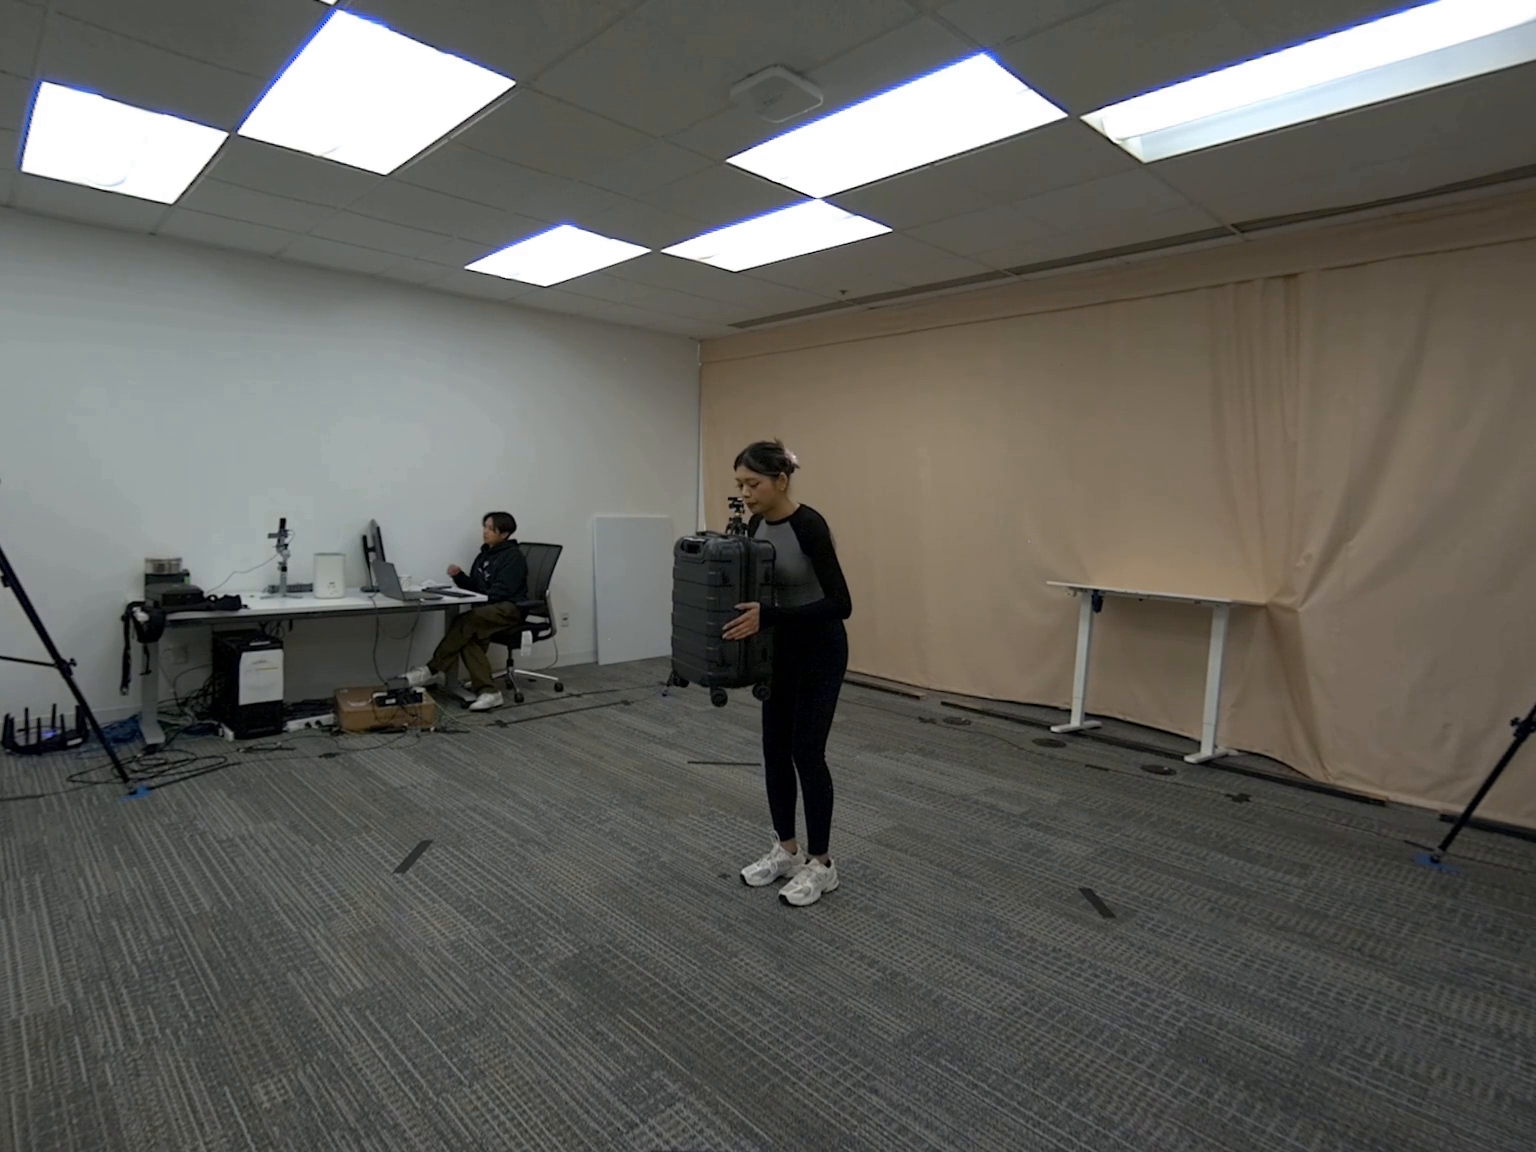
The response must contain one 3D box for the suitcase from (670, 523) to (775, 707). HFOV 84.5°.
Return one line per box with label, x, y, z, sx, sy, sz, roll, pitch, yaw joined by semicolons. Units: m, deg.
suitcase;-0.166;0.129;2.862;0.243;0.548;0.383;-1;3;-29
